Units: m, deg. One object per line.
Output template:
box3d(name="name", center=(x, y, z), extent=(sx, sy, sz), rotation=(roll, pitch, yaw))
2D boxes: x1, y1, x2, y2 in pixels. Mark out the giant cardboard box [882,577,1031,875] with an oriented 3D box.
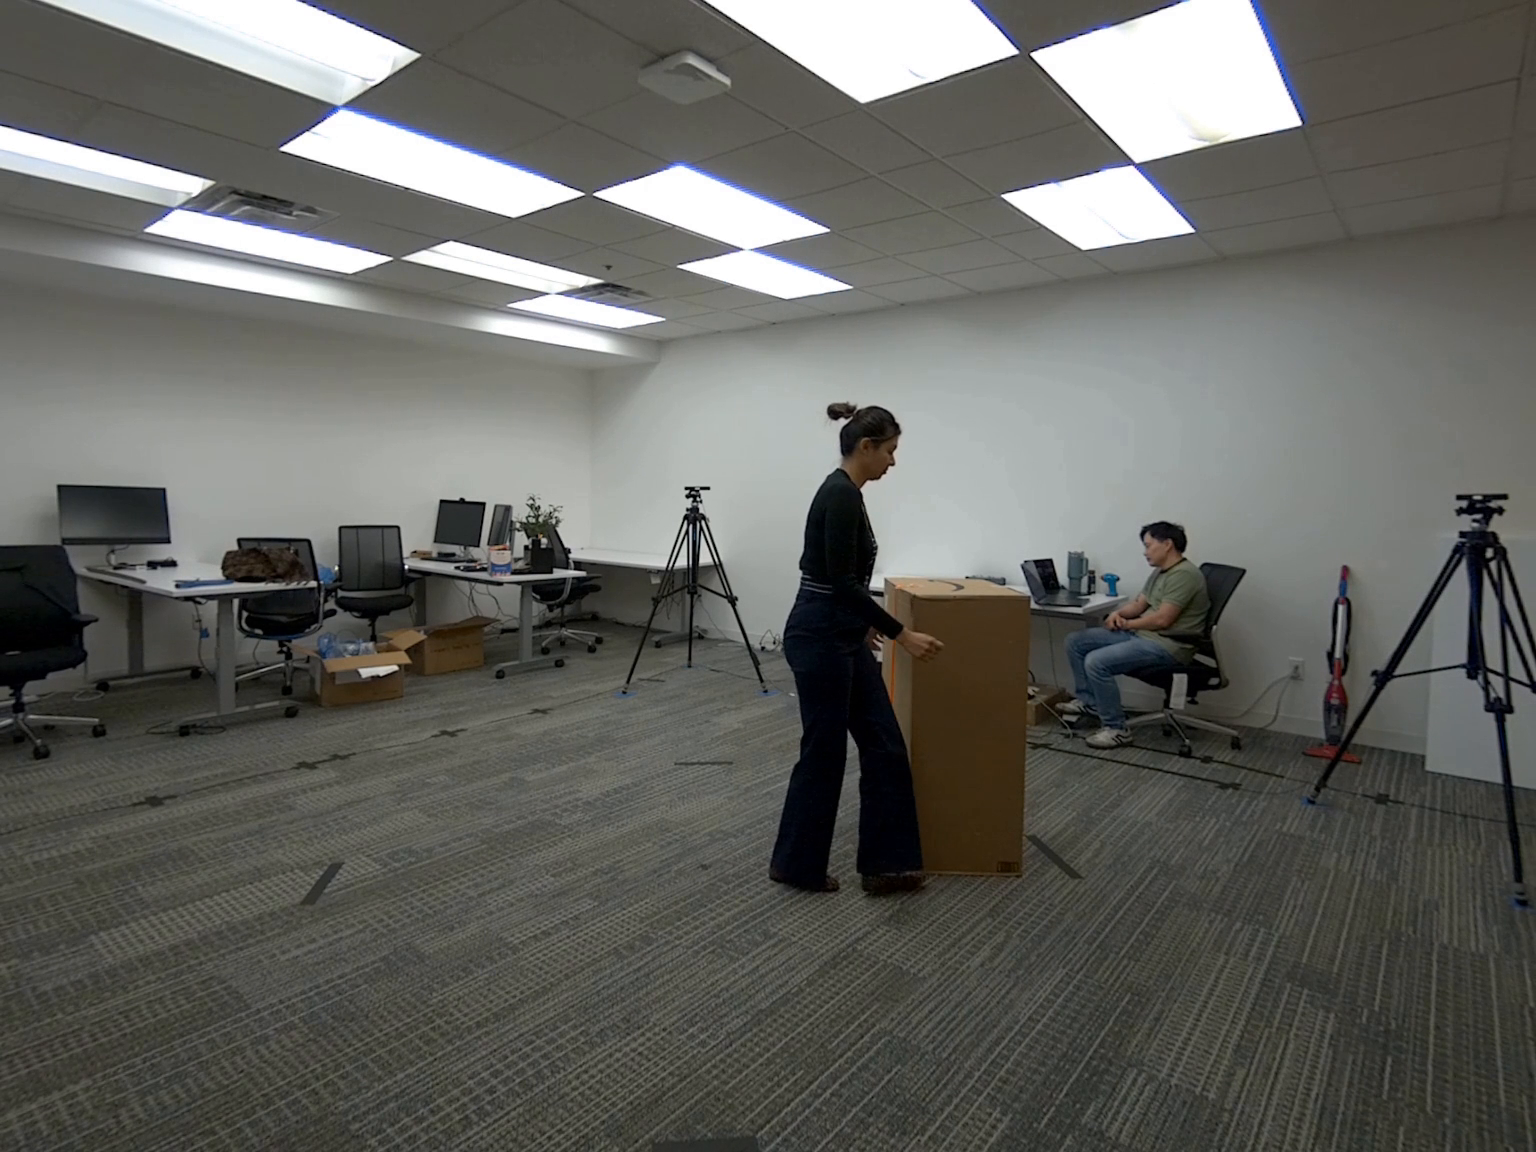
box3d(name="giant cardboard box", center=(0.701, 0.545, 3.346), extent=(0.426, 1.022, 0.580), rotation=(0, 4, -1))
